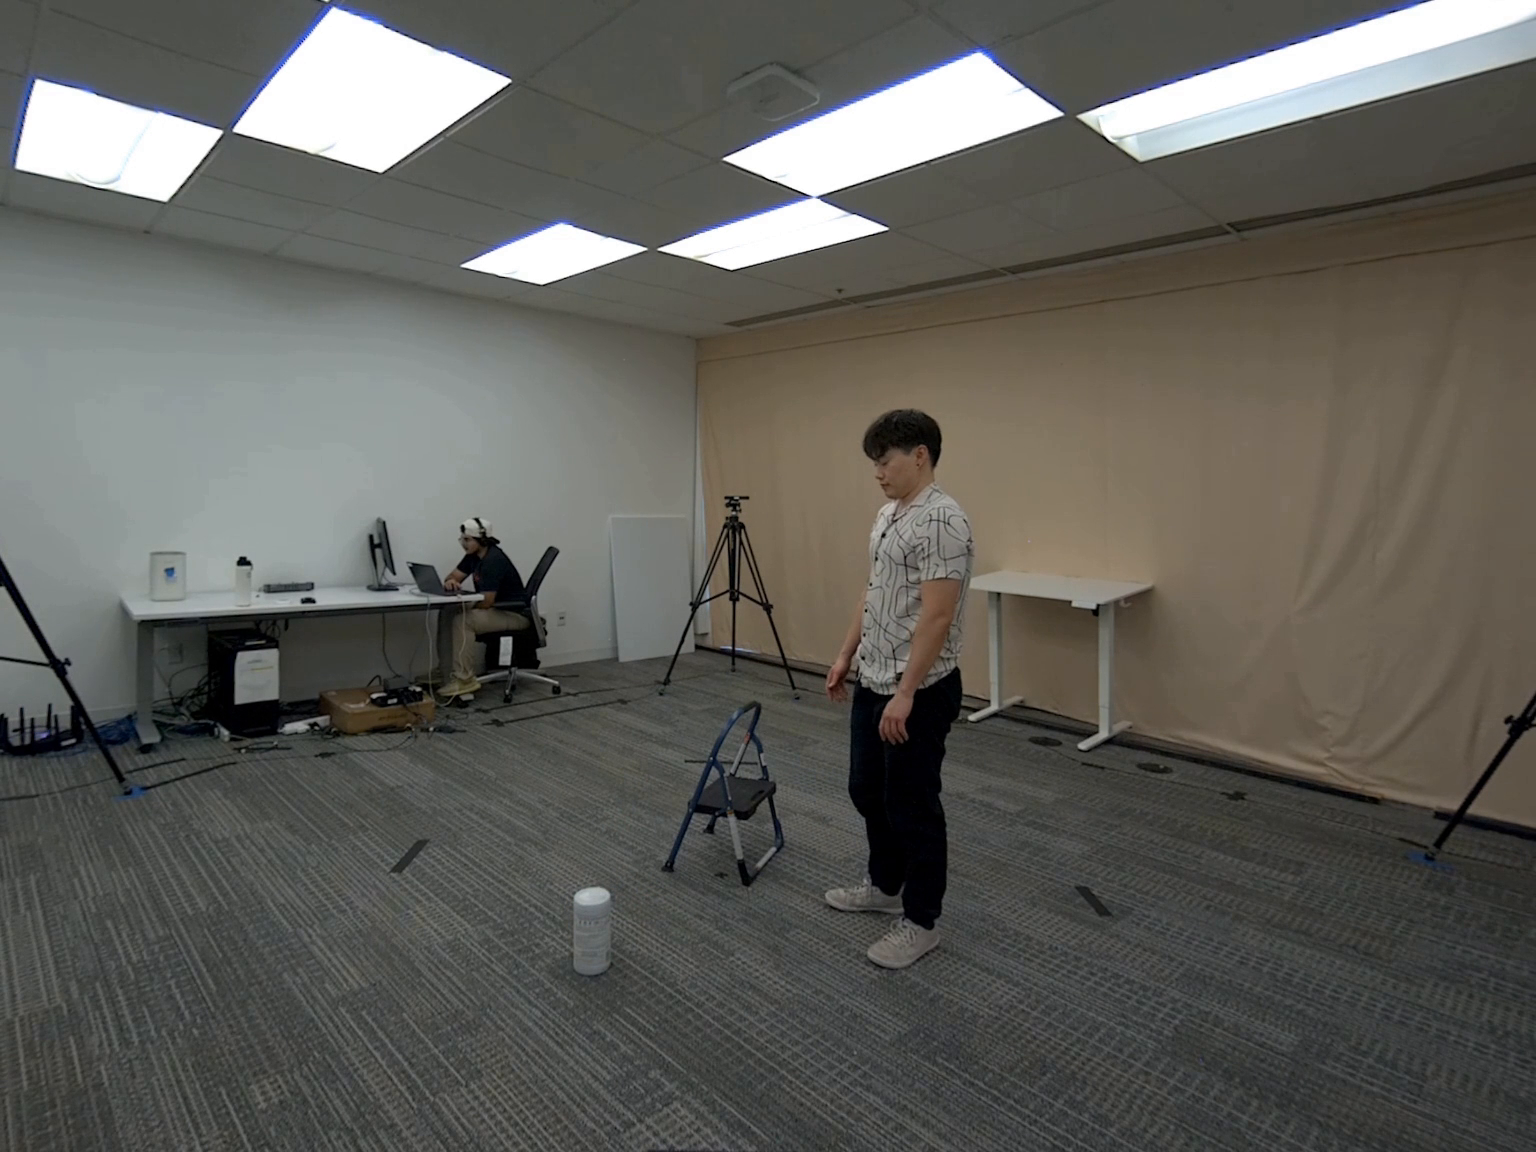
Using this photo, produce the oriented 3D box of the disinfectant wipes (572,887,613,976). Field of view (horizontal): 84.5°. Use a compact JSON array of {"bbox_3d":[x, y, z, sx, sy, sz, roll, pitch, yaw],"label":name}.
[{"bbox_3d":[-0.519,1.038,2.474,0.118,0.217,0.118,1,4,-1],"label":"disinfectant wipes"}]
